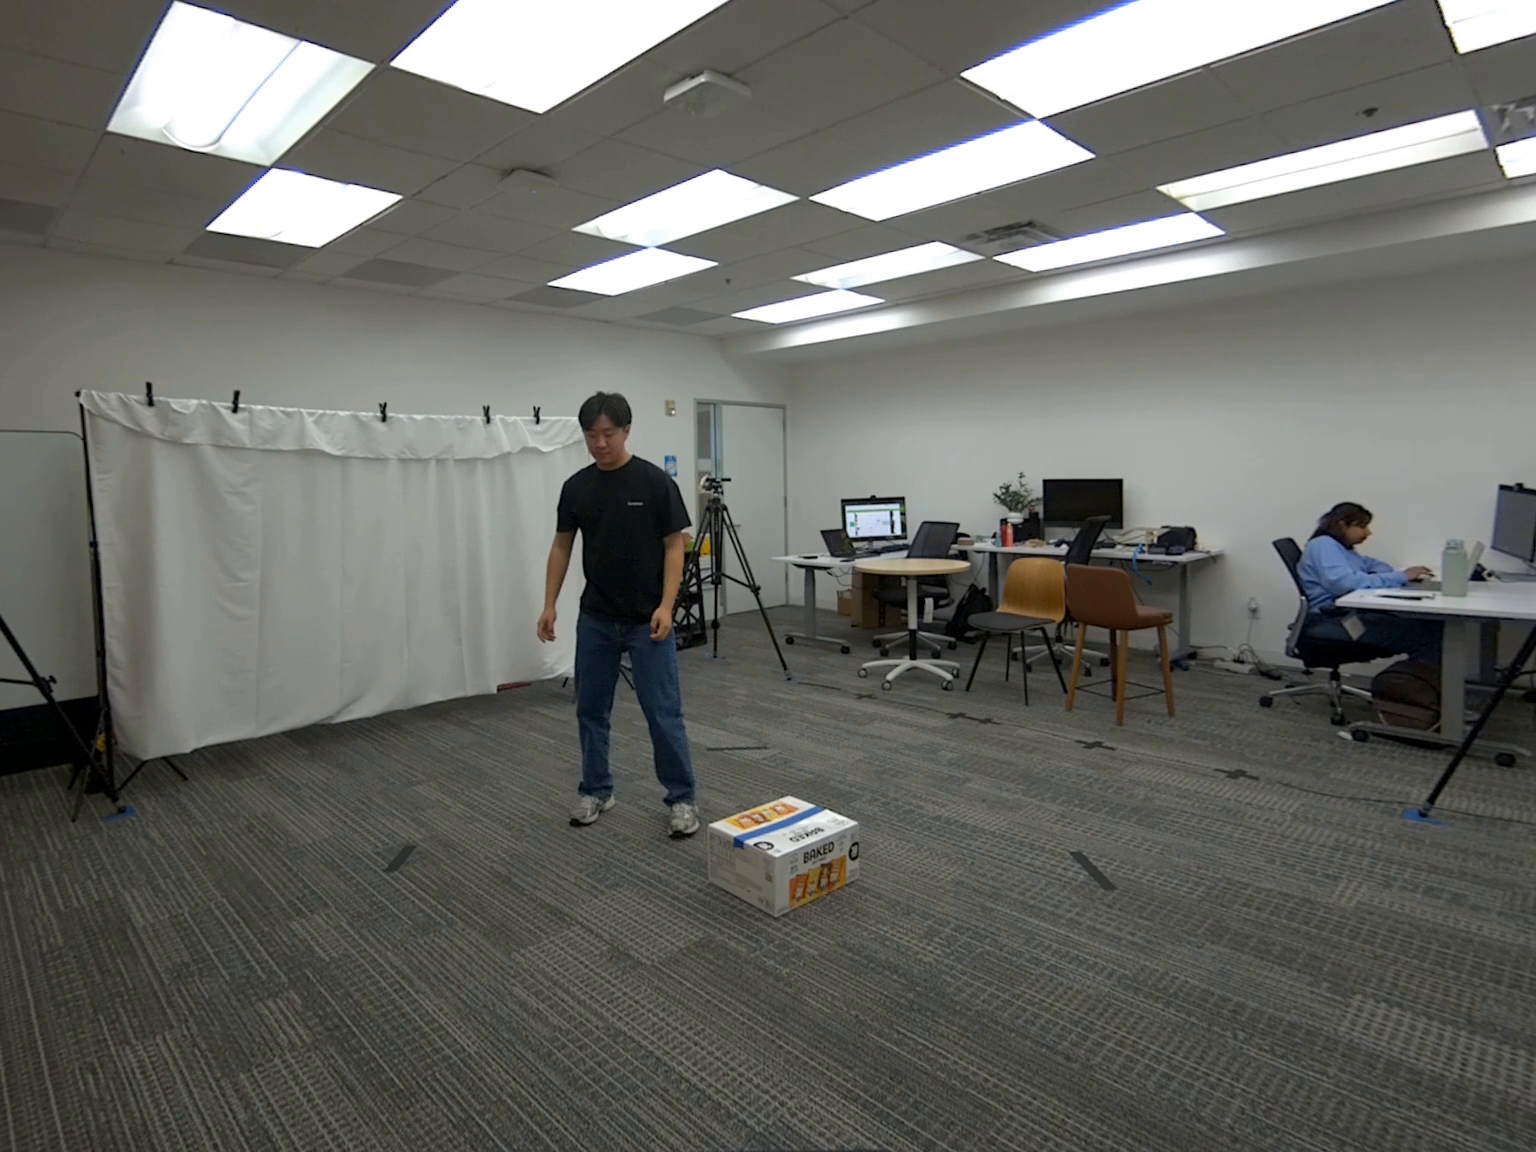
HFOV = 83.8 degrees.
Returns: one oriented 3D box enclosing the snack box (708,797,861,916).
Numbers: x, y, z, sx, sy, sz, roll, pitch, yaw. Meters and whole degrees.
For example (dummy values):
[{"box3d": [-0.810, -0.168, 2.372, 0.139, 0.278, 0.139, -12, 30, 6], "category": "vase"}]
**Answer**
[{"box3d": [0.057, 0.957, 2.954, 0.394, 0.205, 0.351, -6, 7, -42], "category": "snack box"}]
